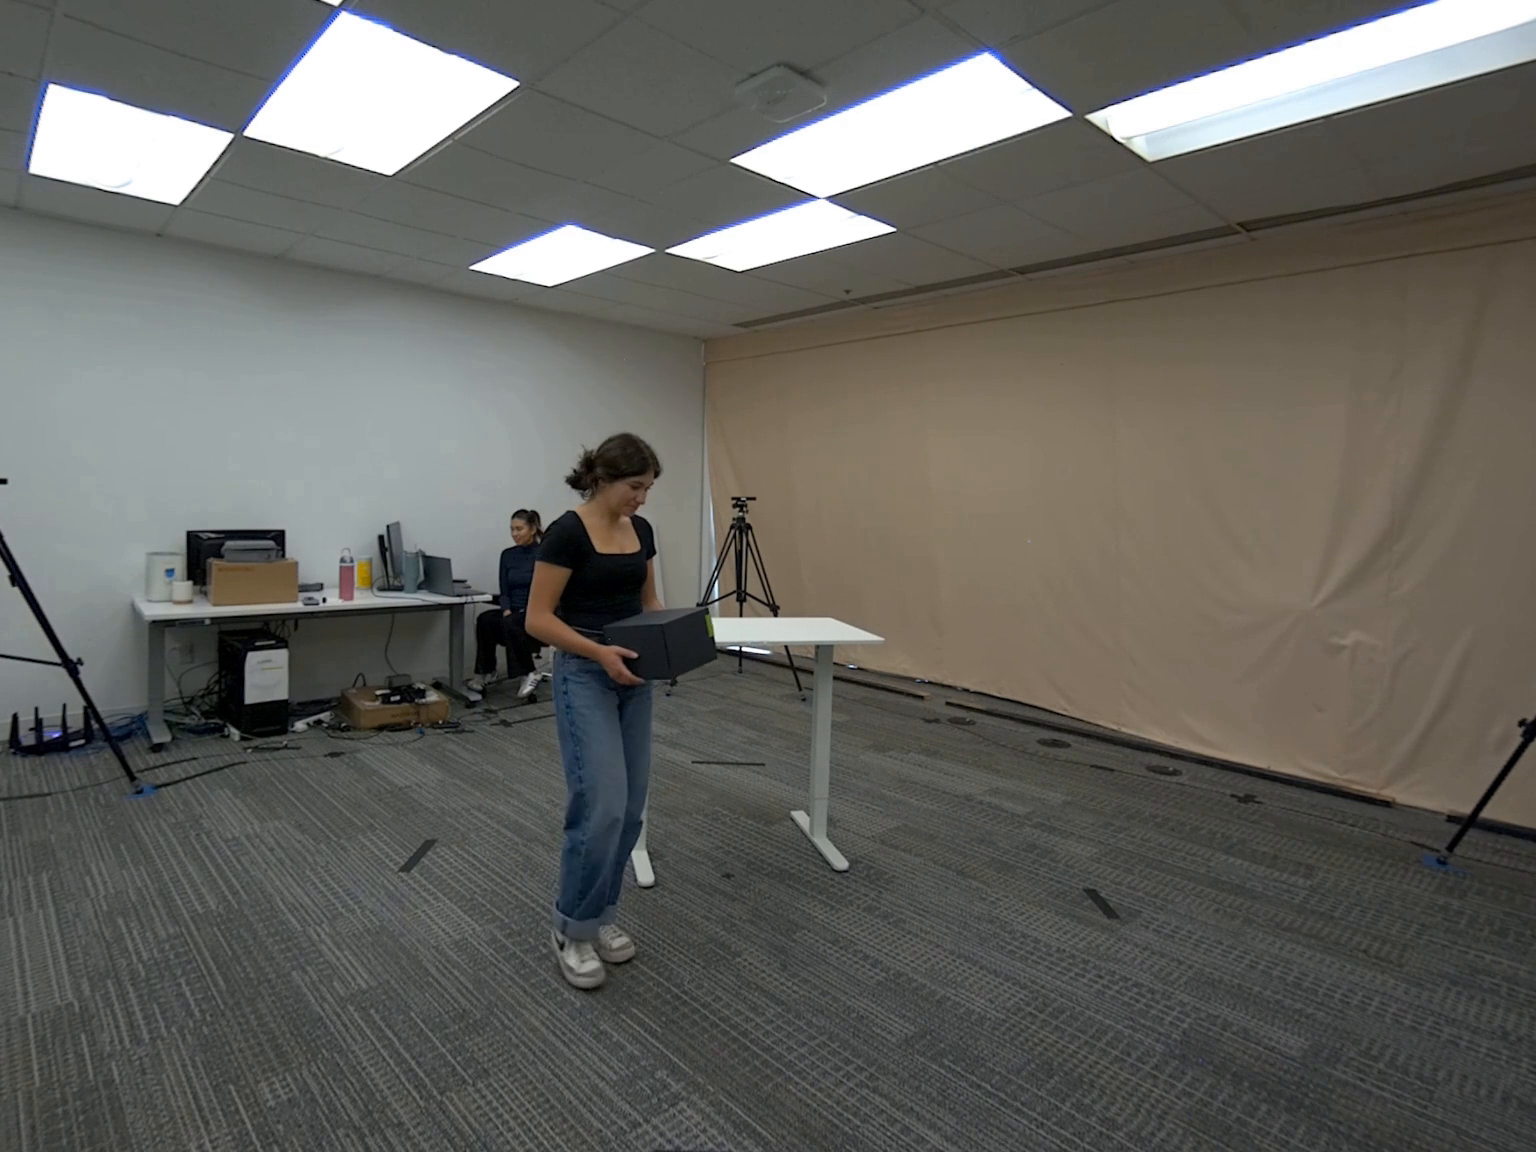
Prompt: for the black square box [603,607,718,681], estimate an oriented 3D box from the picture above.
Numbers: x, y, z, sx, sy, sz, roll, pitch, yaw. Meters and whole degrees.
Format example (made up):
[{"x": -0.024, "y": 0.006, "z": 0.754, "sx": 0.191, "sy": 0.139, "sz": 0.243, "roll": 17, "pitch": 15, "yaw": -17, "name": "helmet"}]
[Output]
[{"x": -0.318, "y": 0.189, "z": 2.394, "sx": 0.232, "sy": 0.155, "sz": 0.213, "roll": -6, "pitch": 6, "yaw": 34, "name": "black square box"}]
